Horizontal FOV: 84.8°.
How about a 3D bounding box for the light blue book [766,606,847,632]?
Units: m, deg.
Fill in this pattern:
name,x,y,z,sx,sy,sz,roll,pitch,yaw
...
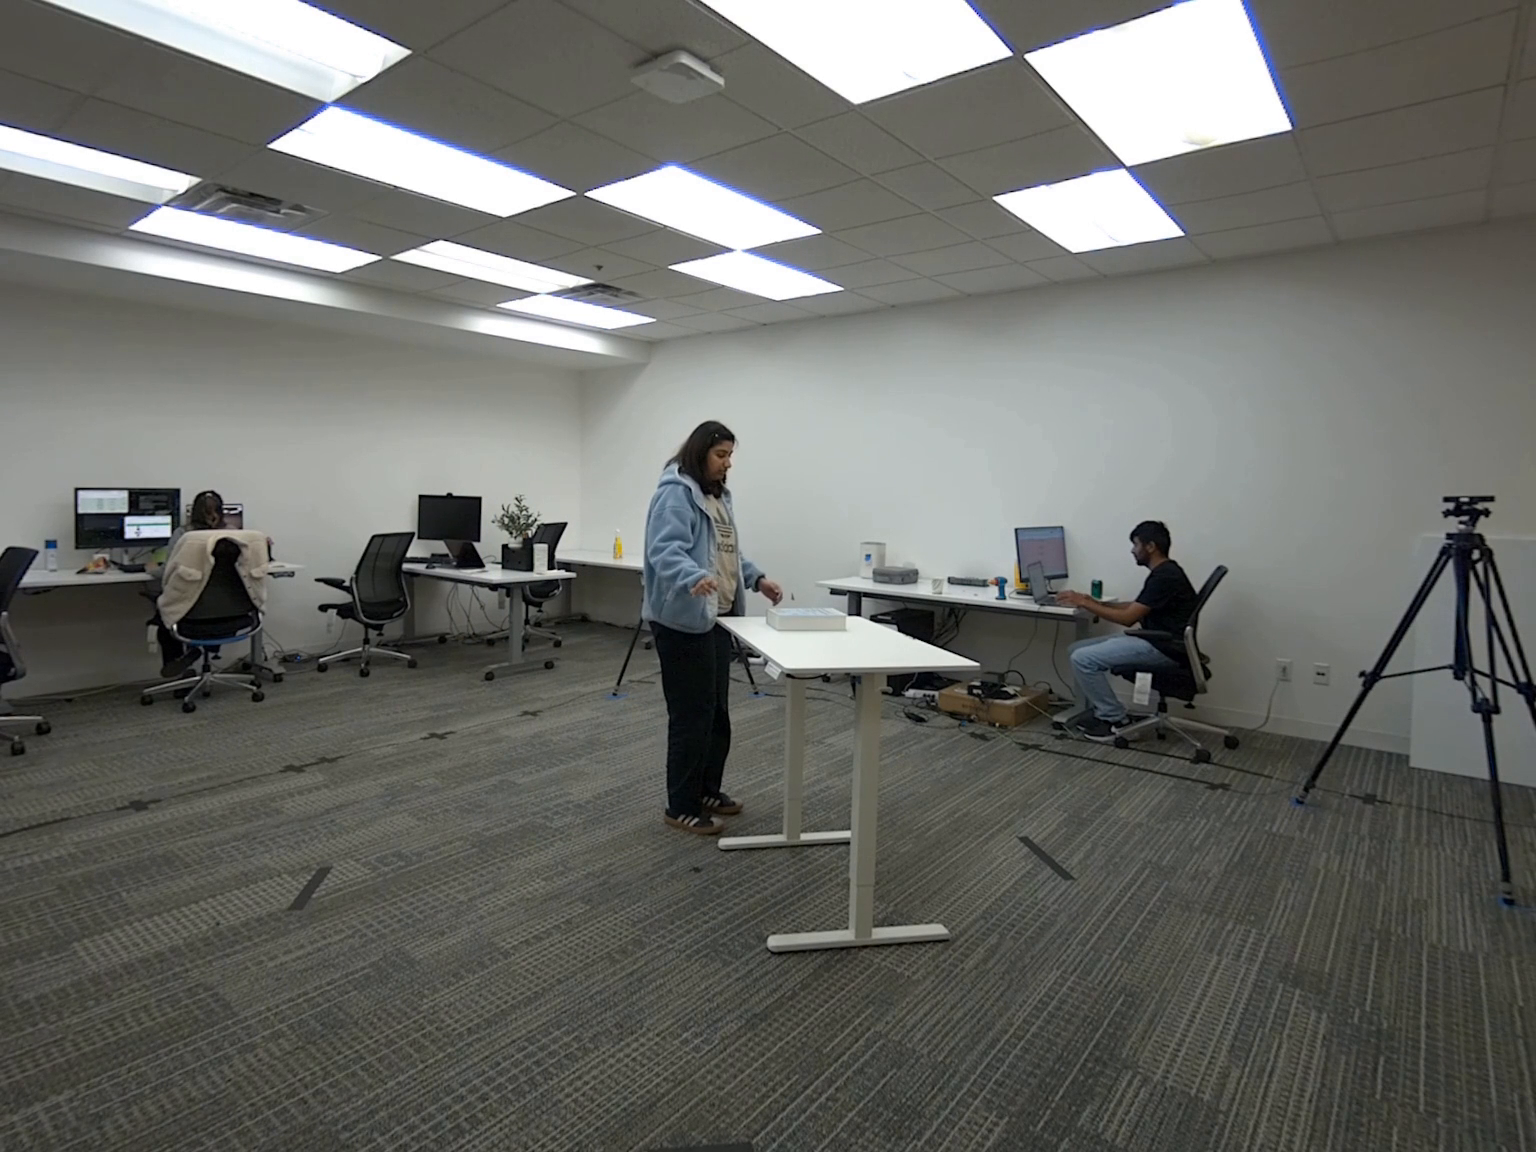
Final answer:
name,x,y,z,sx,sy,sz,roll,pitch,yaw
light blue book,0.139,0.159,3.185,0.258,0.059,0.194,-1,6,-11
